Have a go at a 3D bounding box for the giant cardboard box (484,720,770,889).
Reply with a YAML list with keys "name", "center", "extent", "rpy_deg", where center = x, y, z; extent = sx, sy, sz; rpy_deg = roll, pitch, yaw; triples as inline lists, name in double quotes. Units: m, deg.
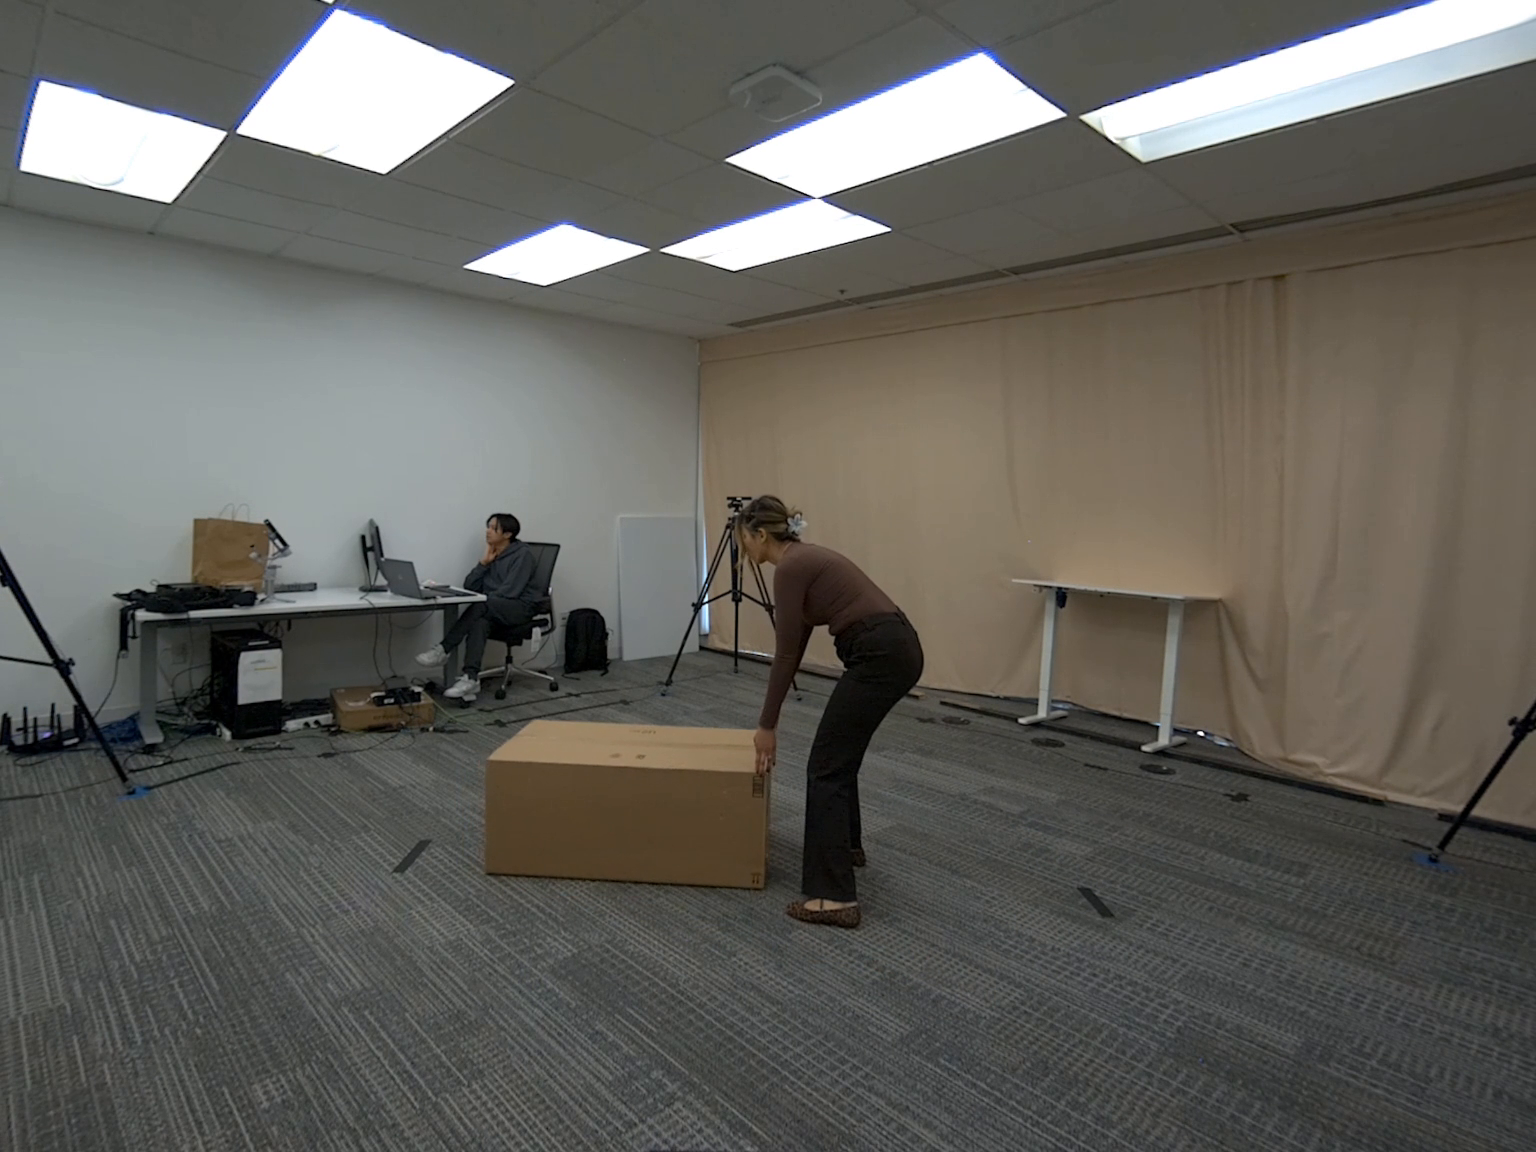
- name: "giant cardboard box"
  center: [-0.512, 0.863, 3.303]
  extent: [1.031, 0.446, 0.583]
  rpy_deg: [3, 3, 4]
